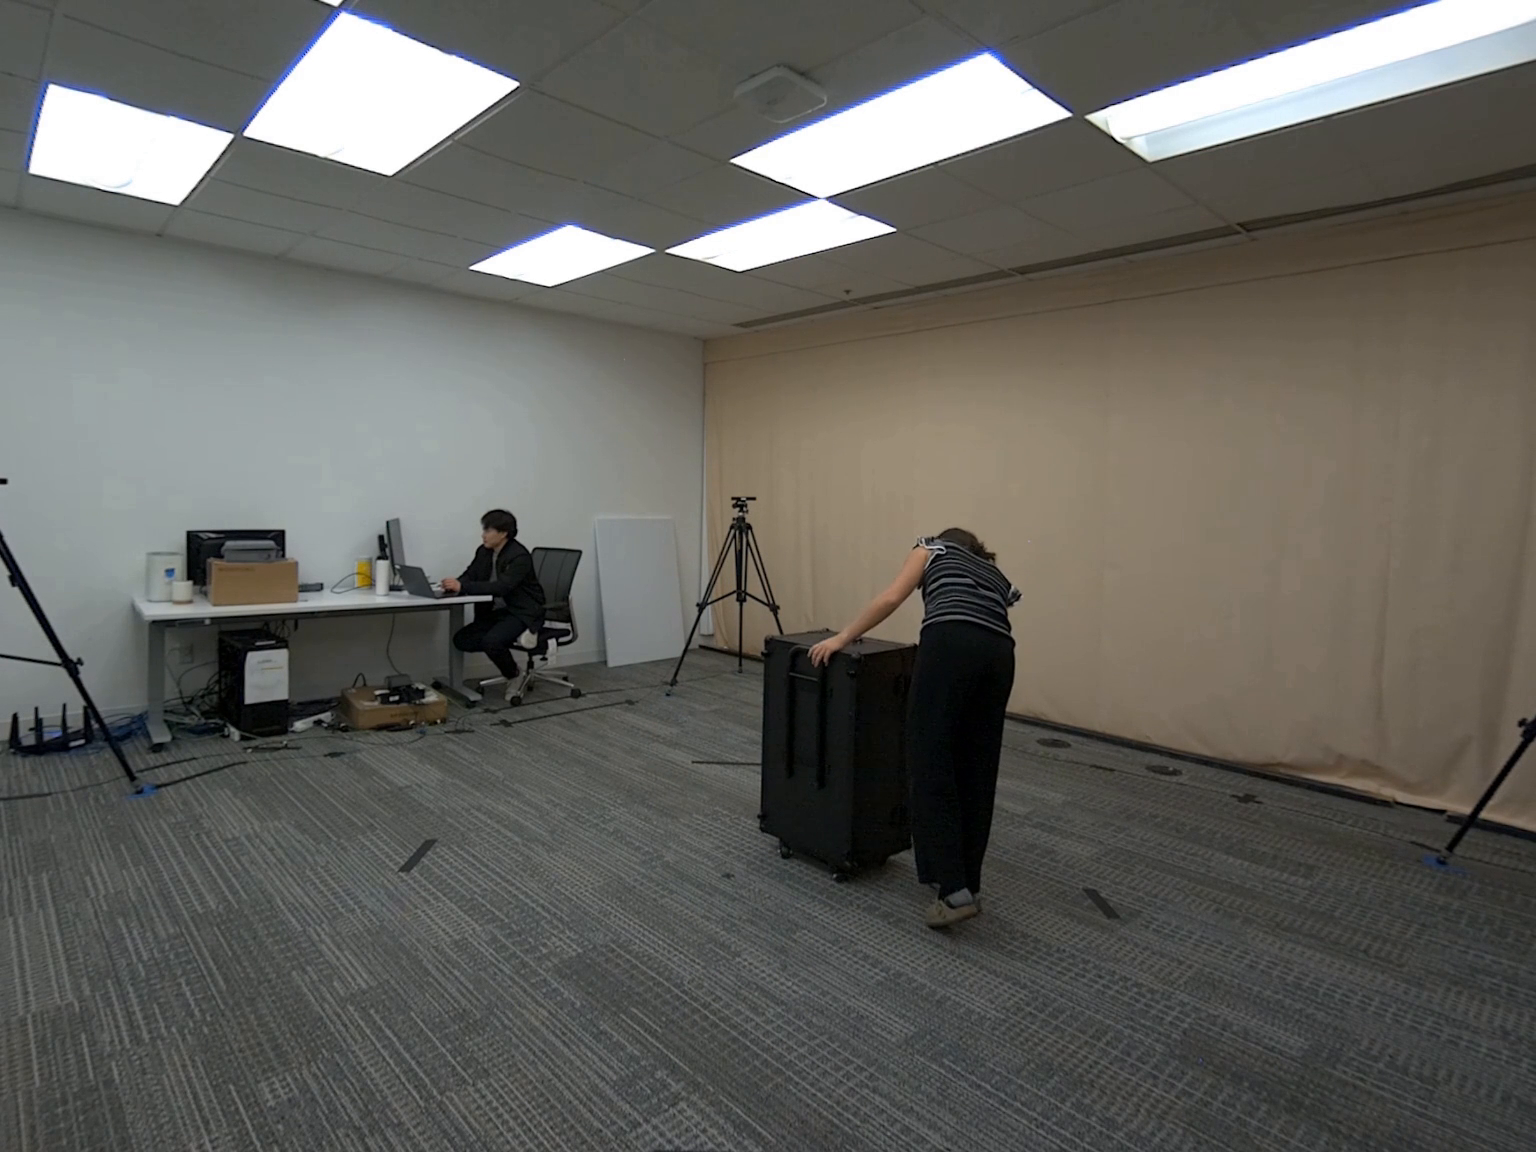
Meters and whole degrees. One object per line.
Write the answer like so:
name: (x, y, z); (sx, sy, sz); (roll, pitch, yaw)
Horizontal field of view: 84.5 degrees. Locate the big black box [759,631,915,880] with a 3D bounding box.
big black box: (0.255, 0.680, 3.263); (0.387, 0.859, 0.535); (-2, 5, -42)
